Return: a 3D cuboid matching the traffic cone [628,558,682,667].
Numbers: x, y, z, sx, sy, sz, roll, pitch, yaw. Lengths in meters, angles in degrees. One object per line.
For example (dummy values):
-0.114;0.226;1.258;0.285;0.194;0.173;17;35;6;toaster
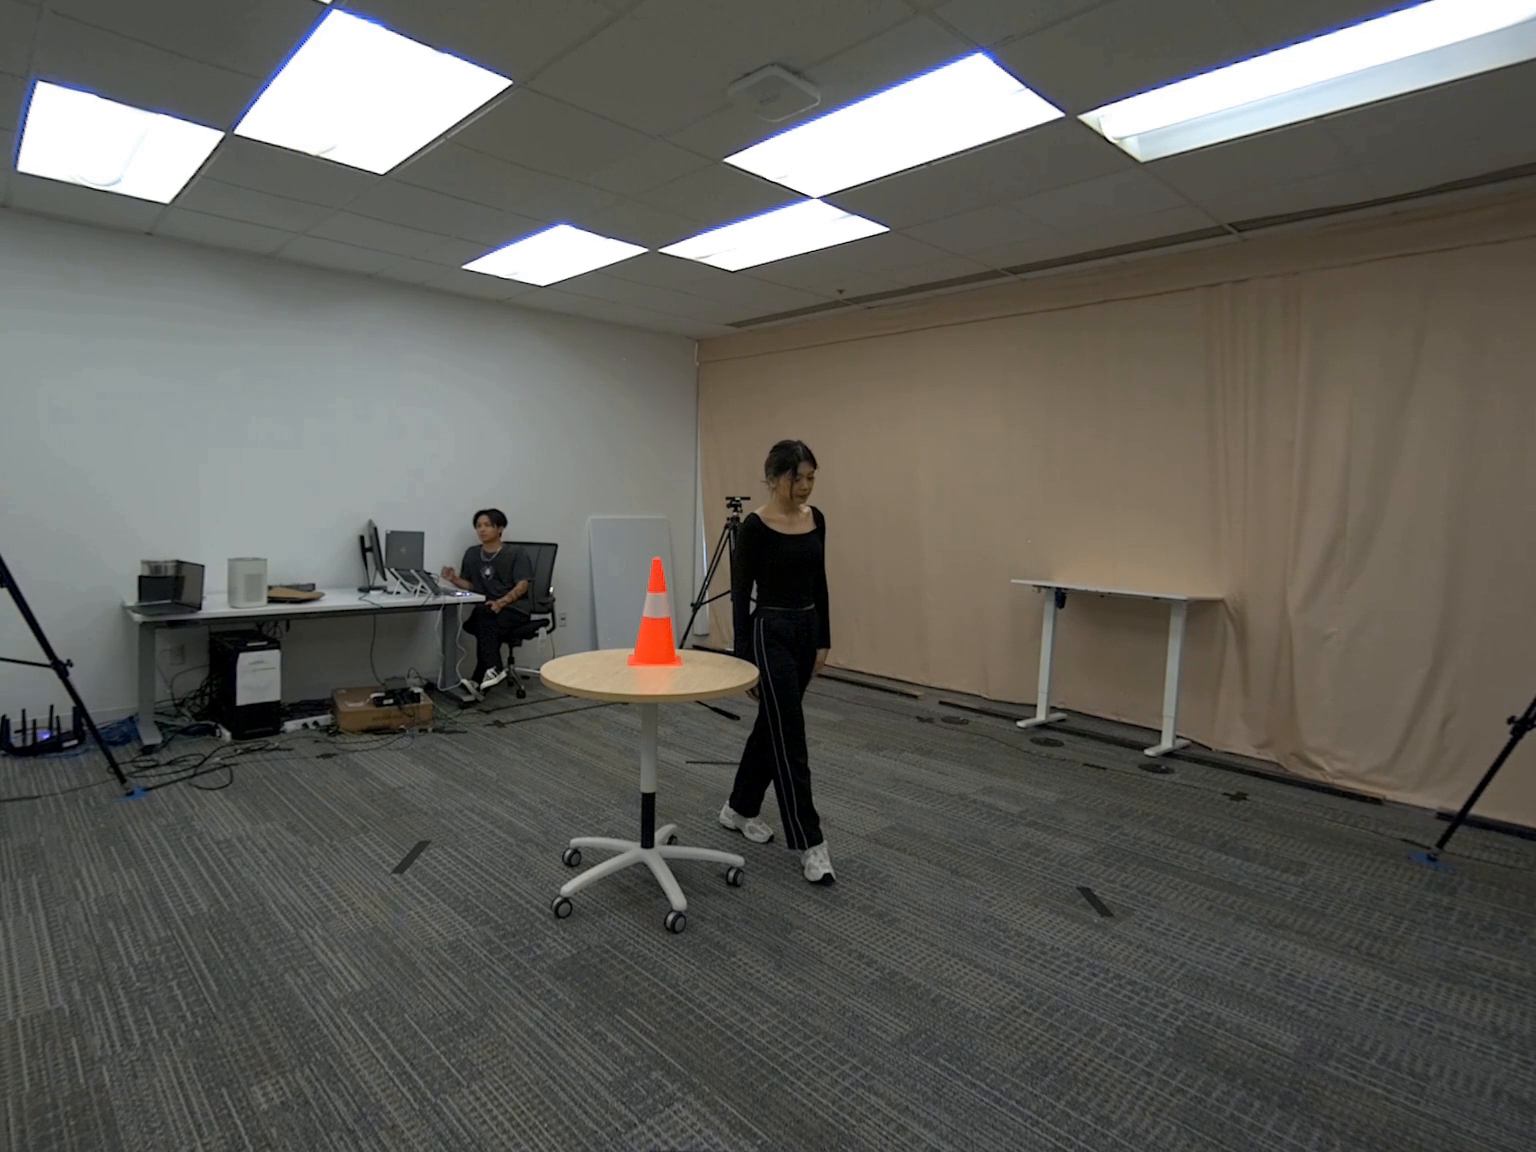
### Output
-0.425;0.128;3.107;0.203;0.383;0.205;1;2;-11;traffic cone
